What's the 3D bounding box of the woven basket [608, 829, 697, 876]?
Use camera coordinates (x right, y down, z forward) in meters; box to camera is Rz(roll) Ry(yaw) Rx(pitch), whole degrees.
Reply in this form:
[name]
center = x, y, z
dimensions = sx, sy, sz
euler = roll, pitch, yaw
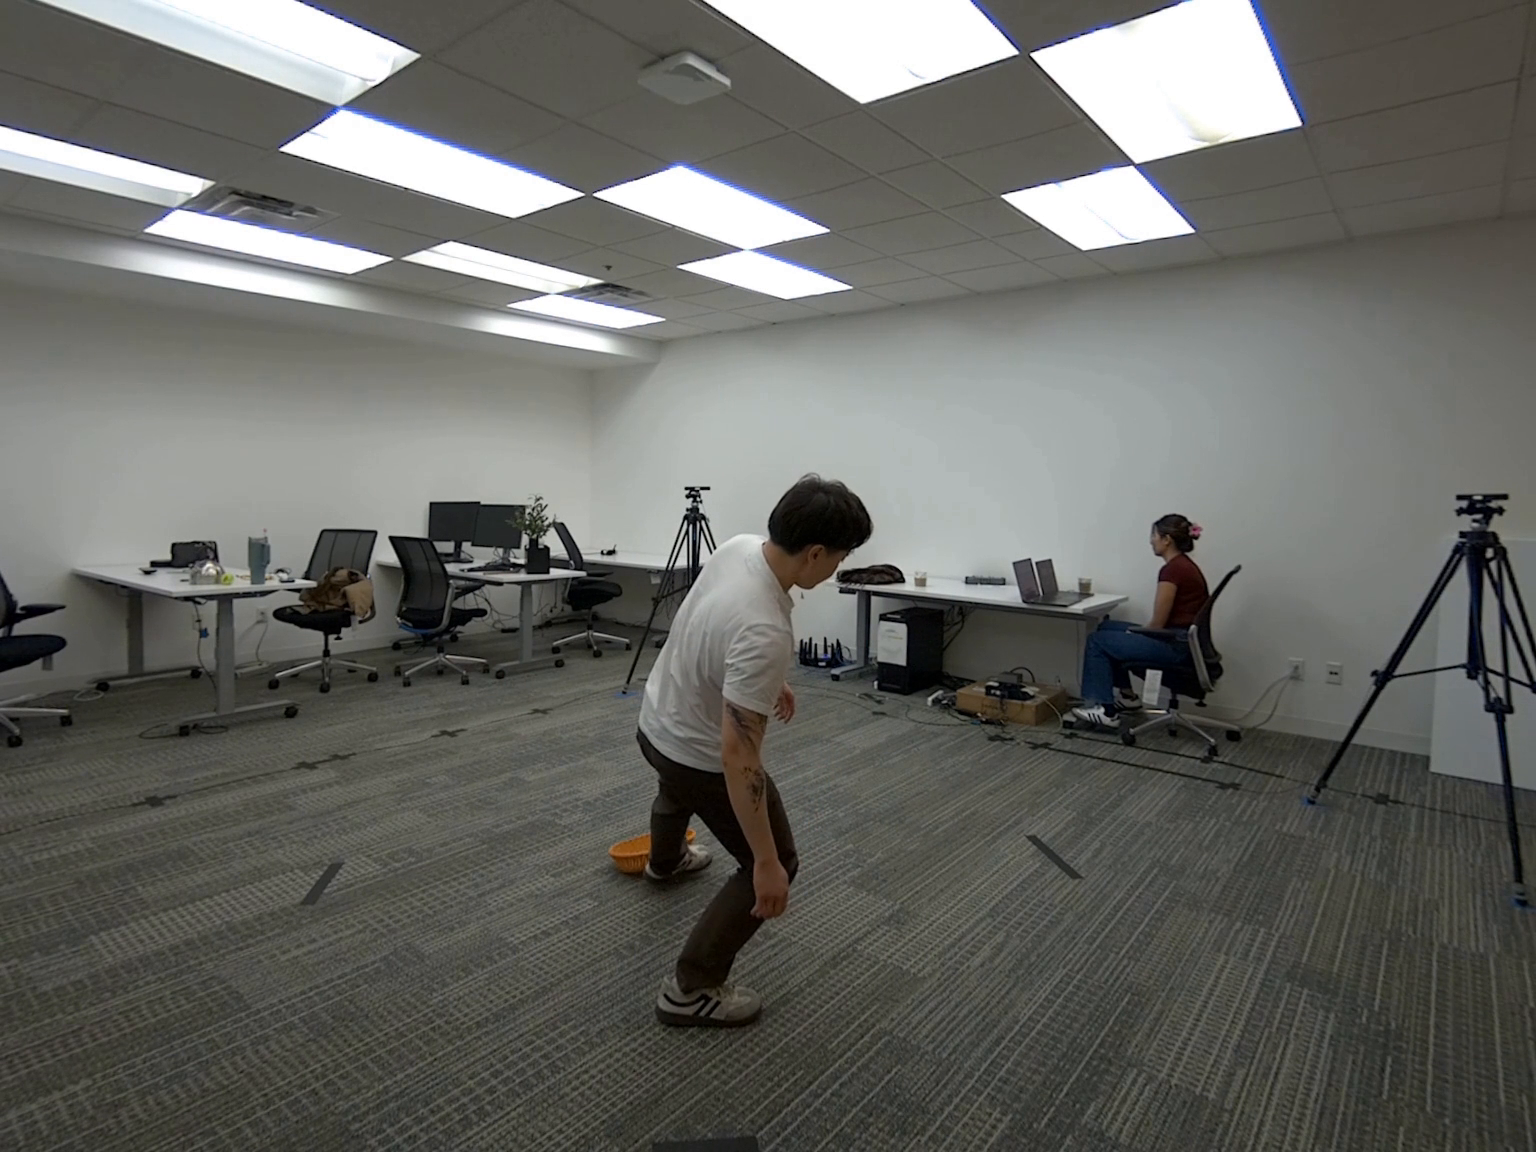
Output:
[woven basket]
center = -0.431, 1.007, 3.128
dimensions = 0.341, 0.074, 0.258
euler = -6, -3, -38
